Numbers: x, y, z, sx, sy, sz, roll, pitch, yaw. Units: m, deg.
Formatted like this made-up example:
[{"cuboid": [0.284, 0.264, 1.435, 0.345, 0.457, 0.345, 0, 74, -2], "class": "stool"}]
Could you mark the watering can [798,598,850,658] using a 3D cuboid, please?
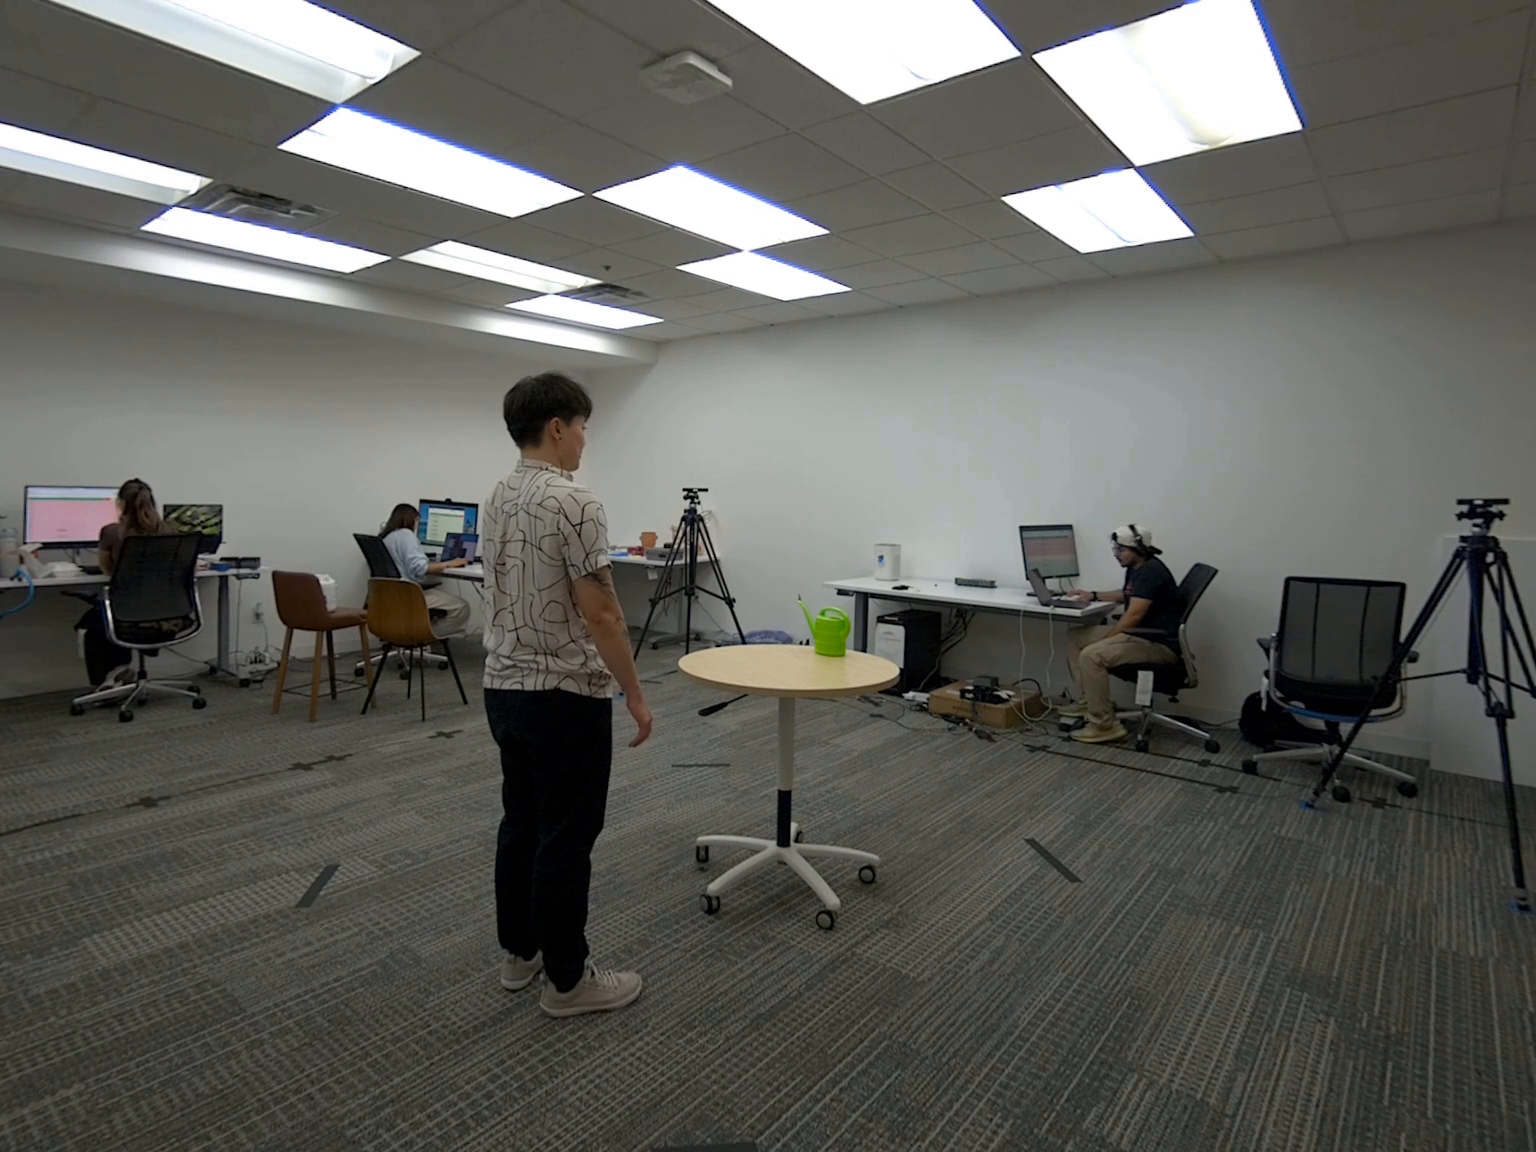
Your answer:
[{"cuboid": [0.199, 0.192, 3.220, 0.096, 0.175, 0.286, -4, 9, -24], "class": "watering can"}]
